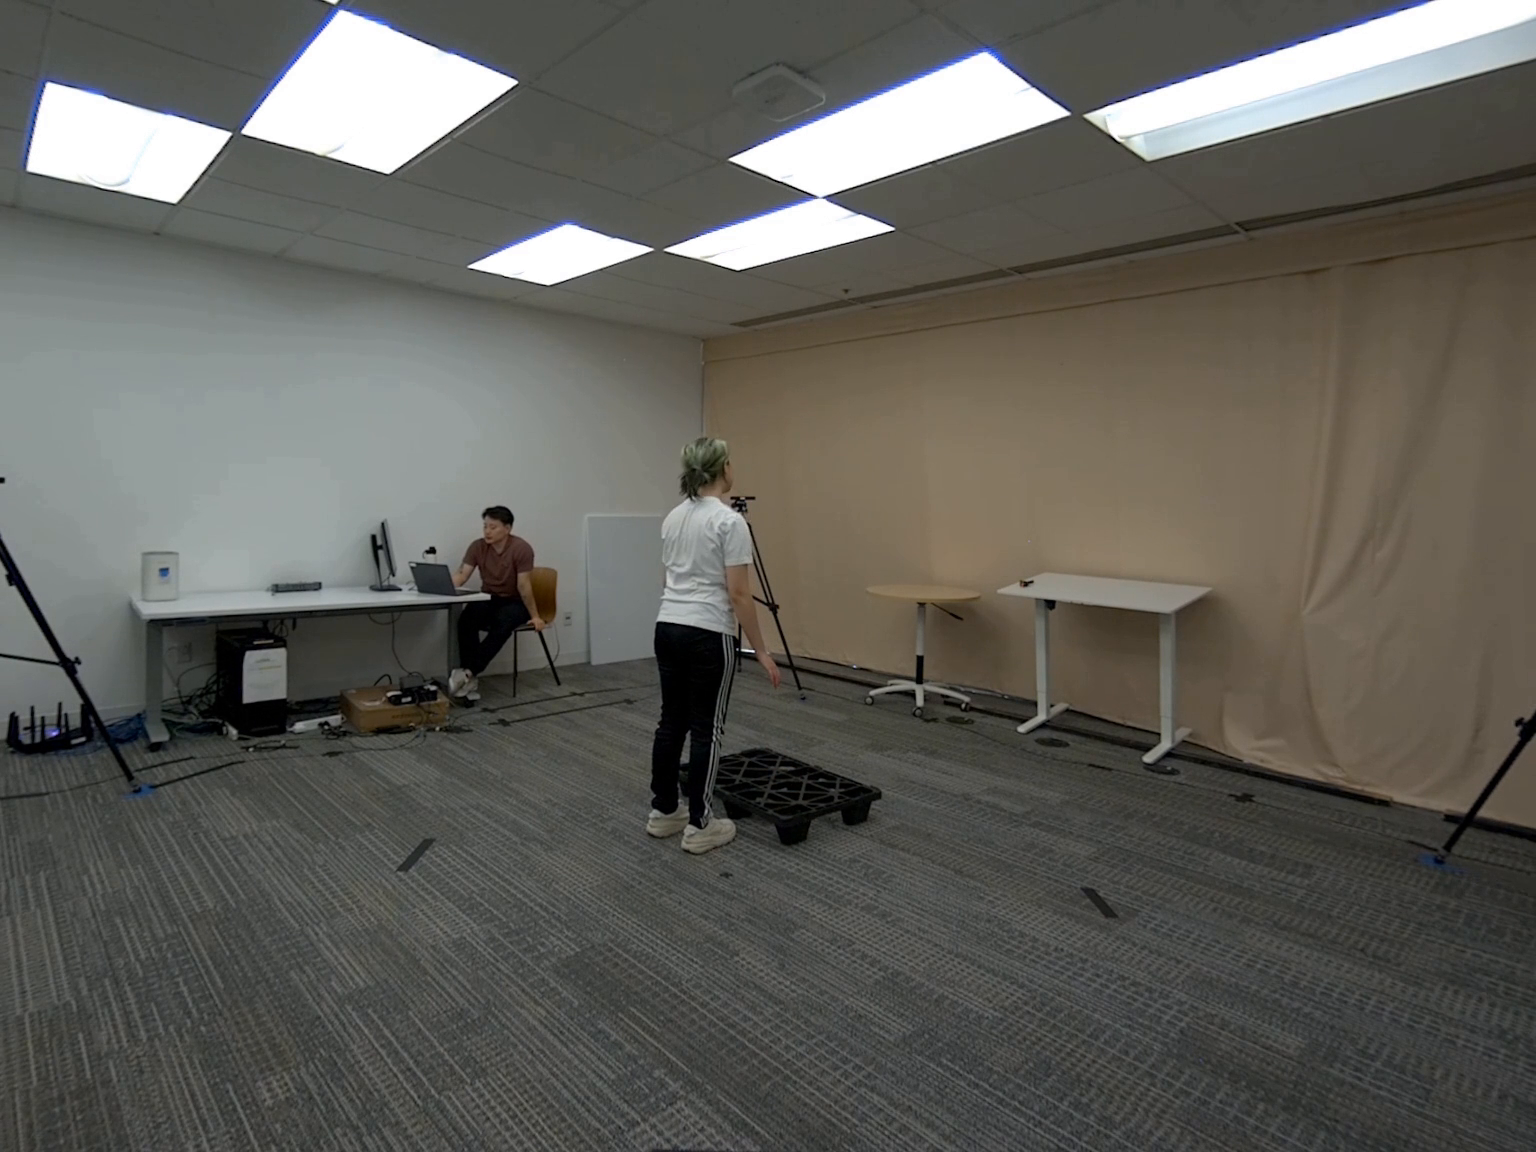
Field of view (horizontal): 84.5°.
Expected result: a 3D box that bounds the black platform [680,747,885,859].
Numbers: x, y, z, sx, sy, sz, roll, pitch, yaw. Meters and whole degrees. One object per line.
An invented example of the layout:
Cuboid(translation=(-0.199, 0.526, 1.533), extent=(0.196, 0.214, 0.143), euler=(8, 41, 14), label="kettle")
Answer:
Cuboid(translation=(0.008, 0.984, 3.799), extent=(0.591, 0.143, 0.826), euler=(-3, 6, -41), label="black platform")
